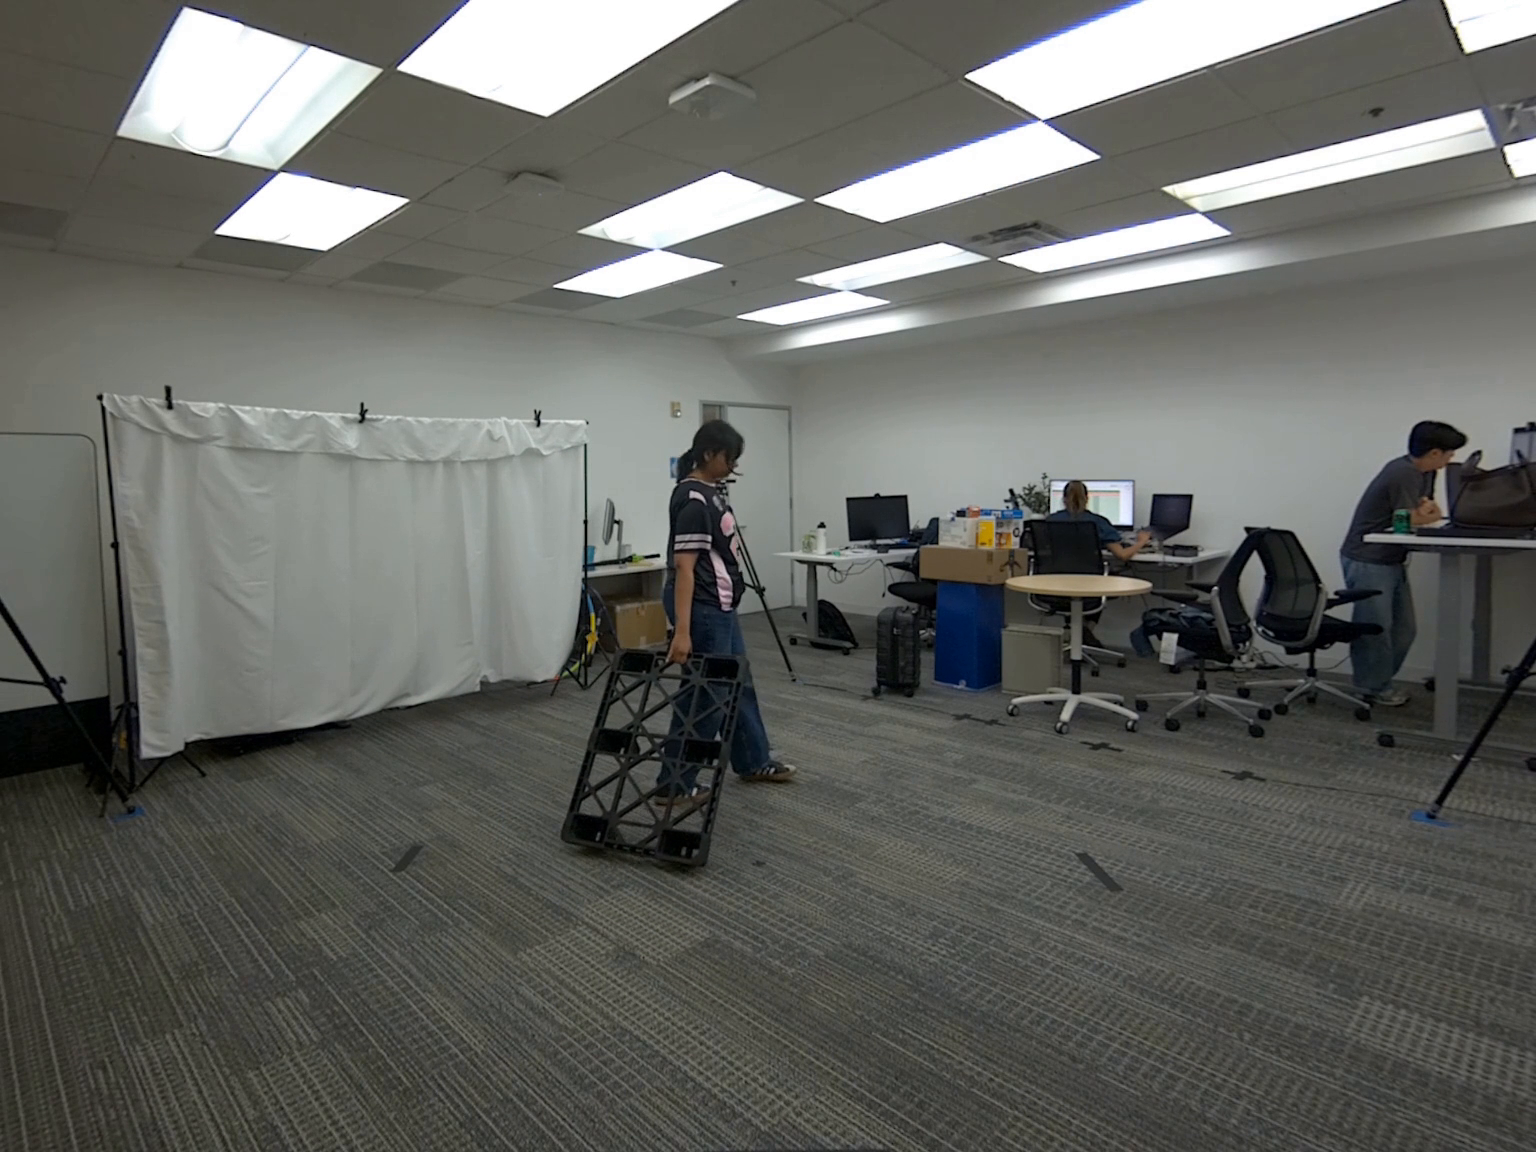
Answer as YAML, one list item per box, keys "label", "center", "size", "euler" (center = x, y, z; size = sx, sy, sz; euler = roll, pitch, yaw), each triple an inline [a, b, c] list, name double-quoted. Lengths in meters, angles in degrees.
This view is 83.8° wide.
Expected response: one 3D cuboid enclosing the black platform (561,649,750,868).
- label: "black platform"
  center: [-0.416, 0.692, 3.351]
  size: [0.618, 0.819, 0.138]
  euler: [-1, -31, 23]
